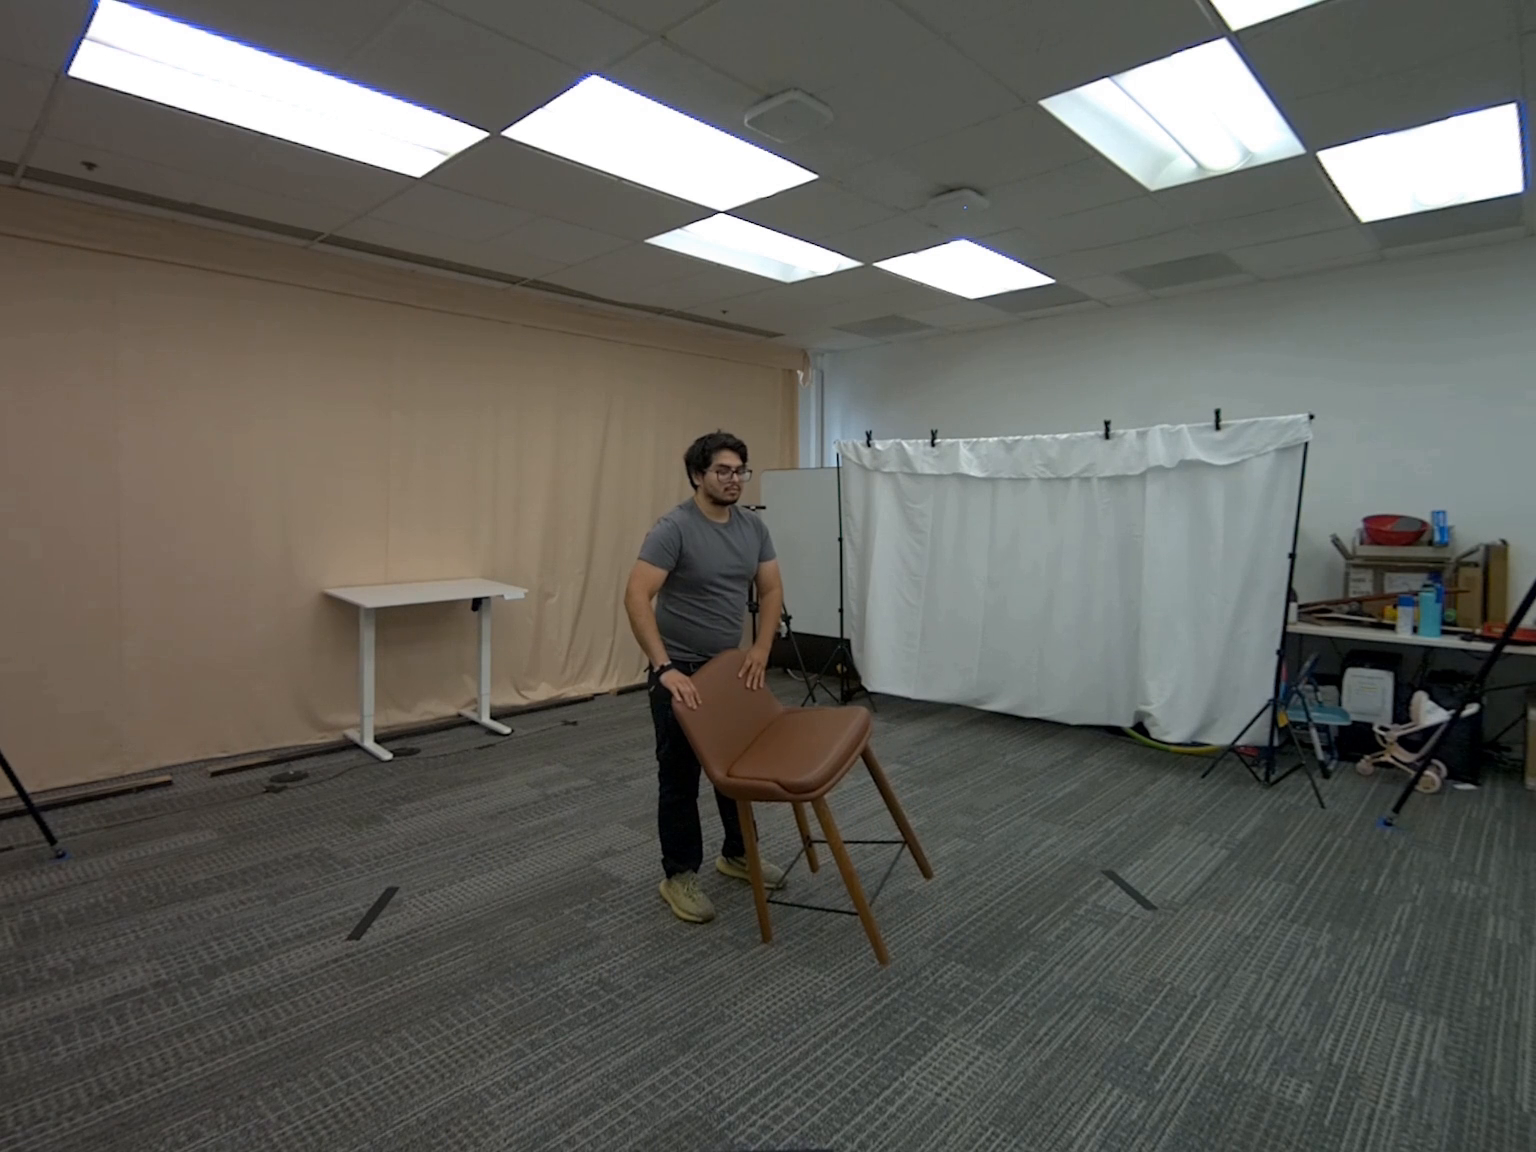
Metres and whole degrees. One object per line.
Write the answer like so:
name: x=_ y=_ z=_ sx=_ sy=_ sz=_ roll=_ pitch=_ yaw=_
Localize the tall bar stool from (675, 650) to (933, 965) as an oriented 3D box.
tall bar stool: x=0.116 y=0.675 z=2.623 sx=0.480 sy=0.882 sz=0.449 roll=-13 pitch=12 yaw=37
